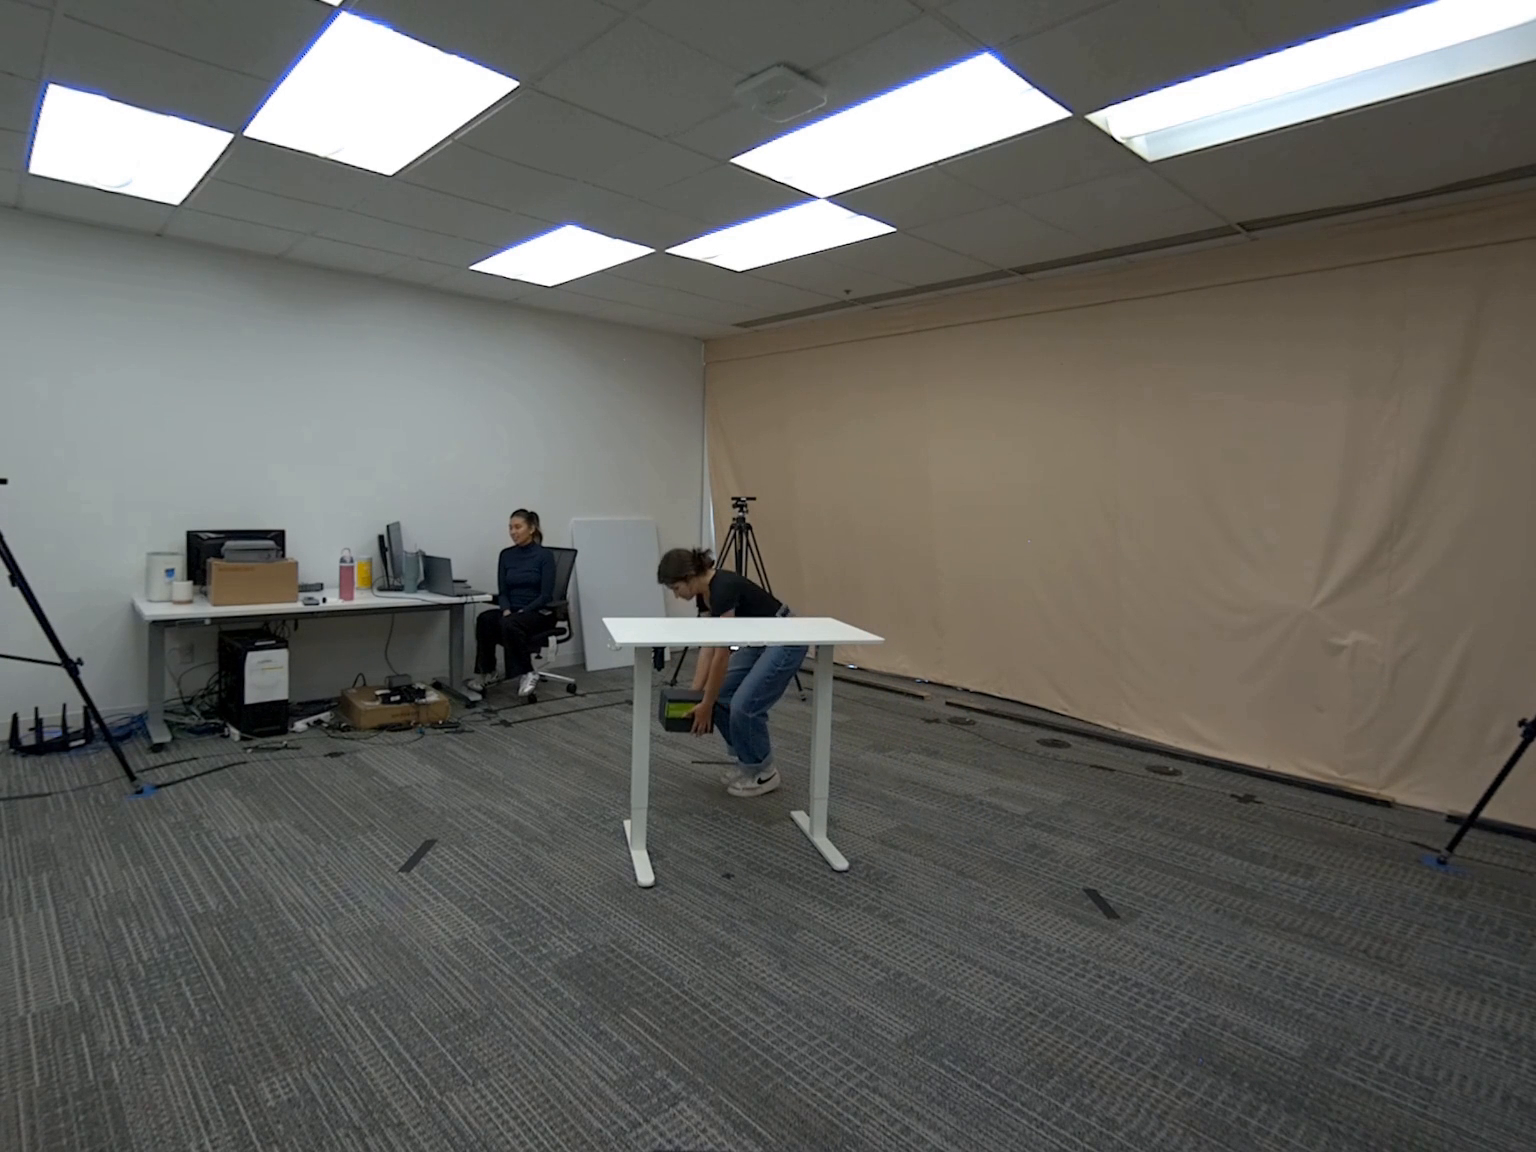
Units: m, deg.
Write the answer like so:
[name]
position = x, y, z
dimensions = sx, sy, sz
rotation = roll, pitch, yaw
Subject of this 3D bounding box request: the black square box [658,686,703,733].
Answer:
[black square box]
position = -0.375, 0.635, 3.975
dimensions = 0.225, 0.156, 0.220
rotation = 5, 2, -14
